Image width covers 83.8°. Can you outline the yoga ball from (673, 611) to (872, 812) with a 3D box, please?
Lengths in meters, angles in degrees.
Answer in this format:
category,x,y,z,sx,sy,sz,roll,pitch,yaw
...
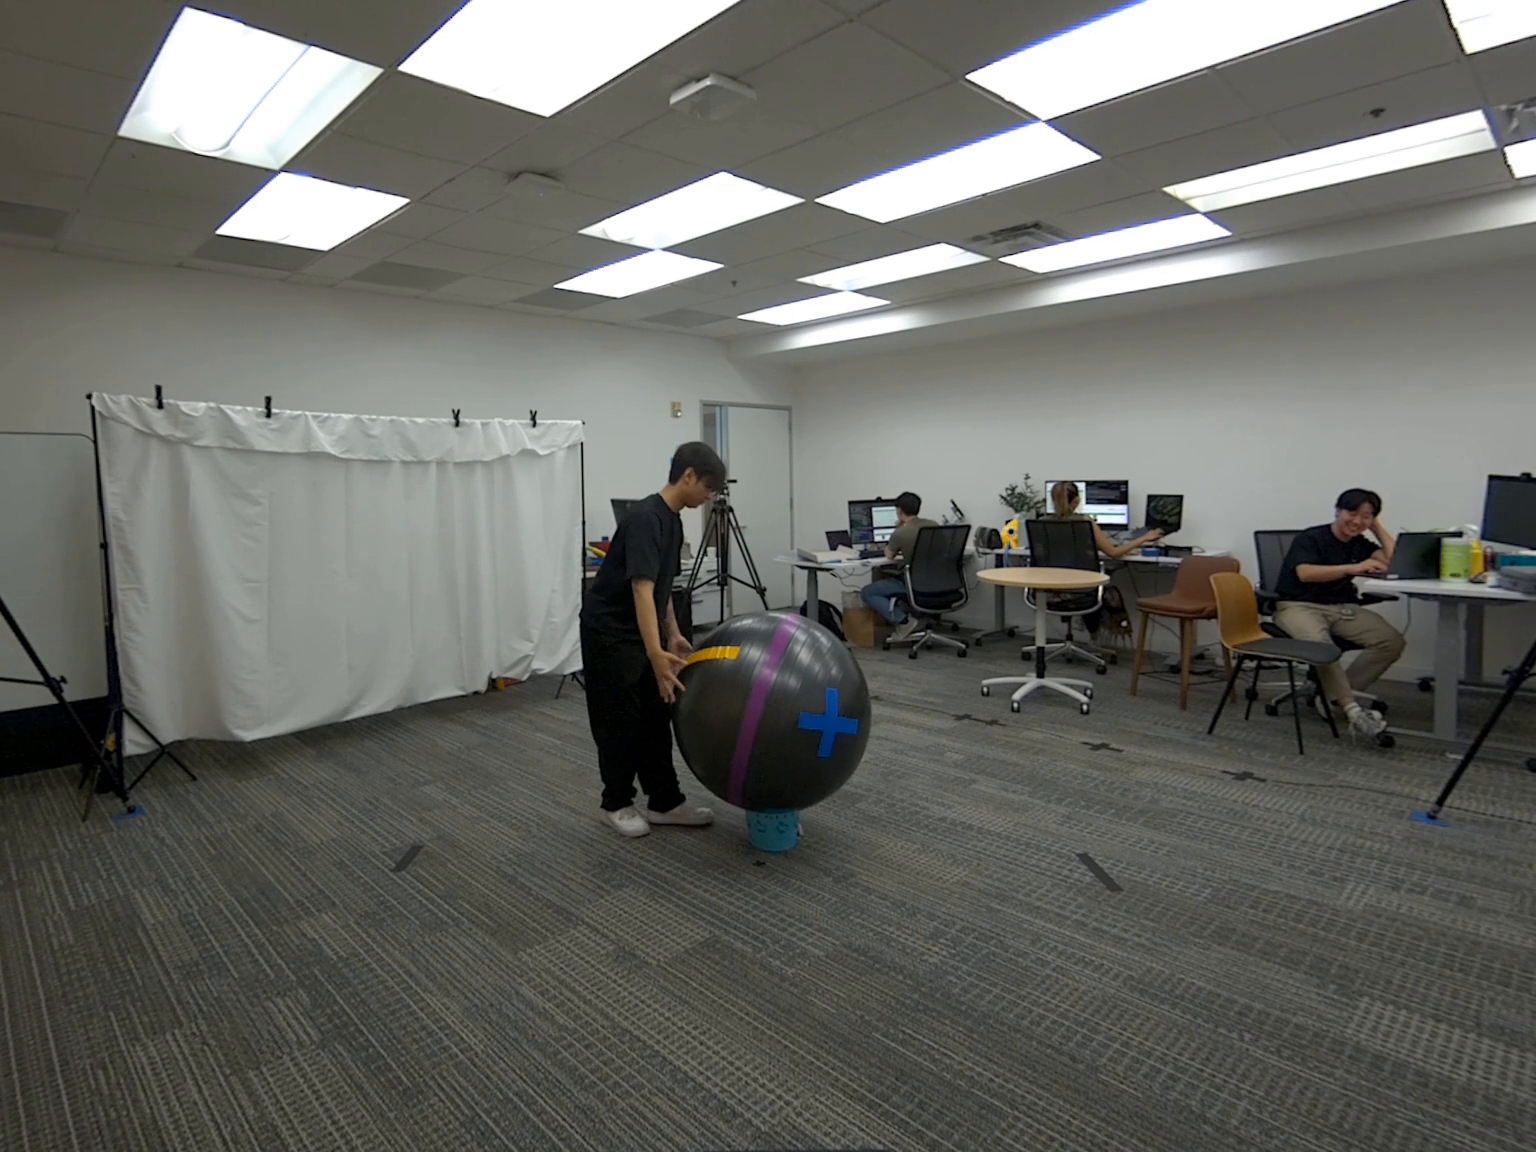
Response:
category,x,y,z,sx,sy,sz,roll,pitch,yaw
yoga ball,0.014,0.517,3.269,0.757,0.755,0.762,-1,5,-2
